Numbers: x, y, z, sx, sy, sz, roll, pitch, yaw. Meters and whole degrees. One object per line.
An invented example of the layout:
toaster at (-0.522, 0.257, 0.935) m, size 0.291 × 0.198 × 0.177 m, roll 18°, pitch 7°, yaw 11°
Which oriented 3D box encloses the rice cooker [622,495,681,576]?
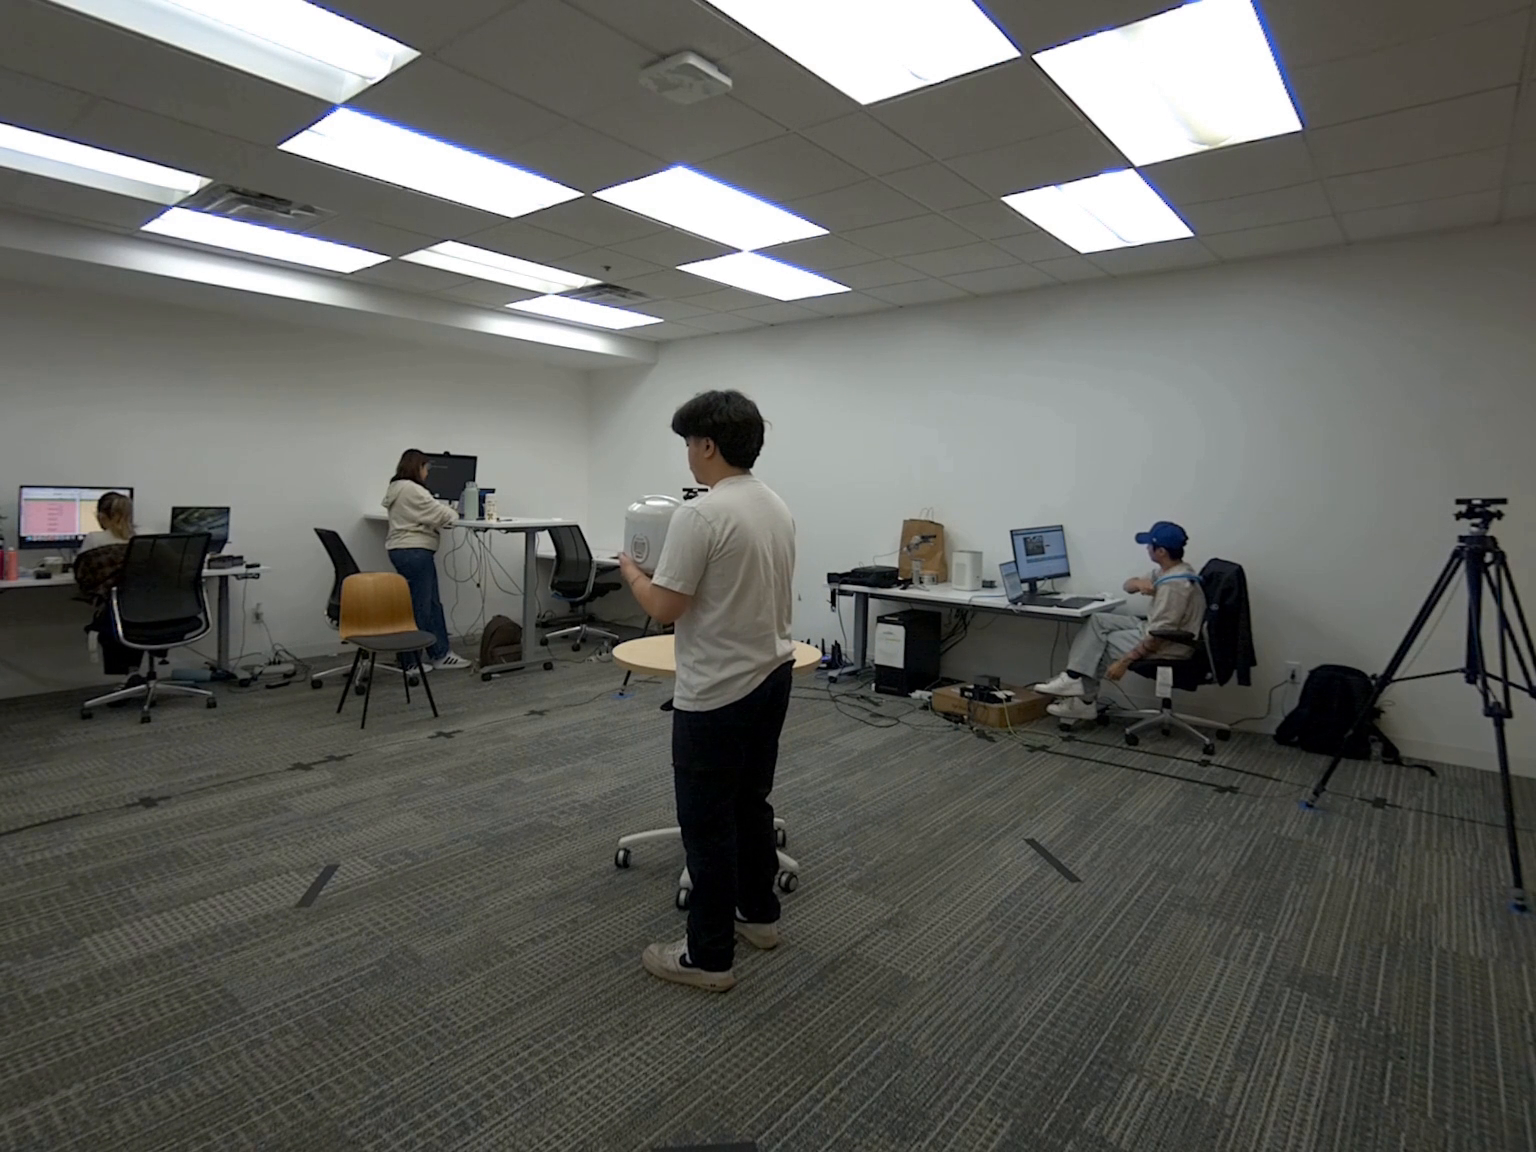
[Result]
rice cooker at (-0.349, -0.134, 2.608) m, size 0.226 × 0.231 × 0.213 m, roll 8°, pitch 9°, yaw 23°
